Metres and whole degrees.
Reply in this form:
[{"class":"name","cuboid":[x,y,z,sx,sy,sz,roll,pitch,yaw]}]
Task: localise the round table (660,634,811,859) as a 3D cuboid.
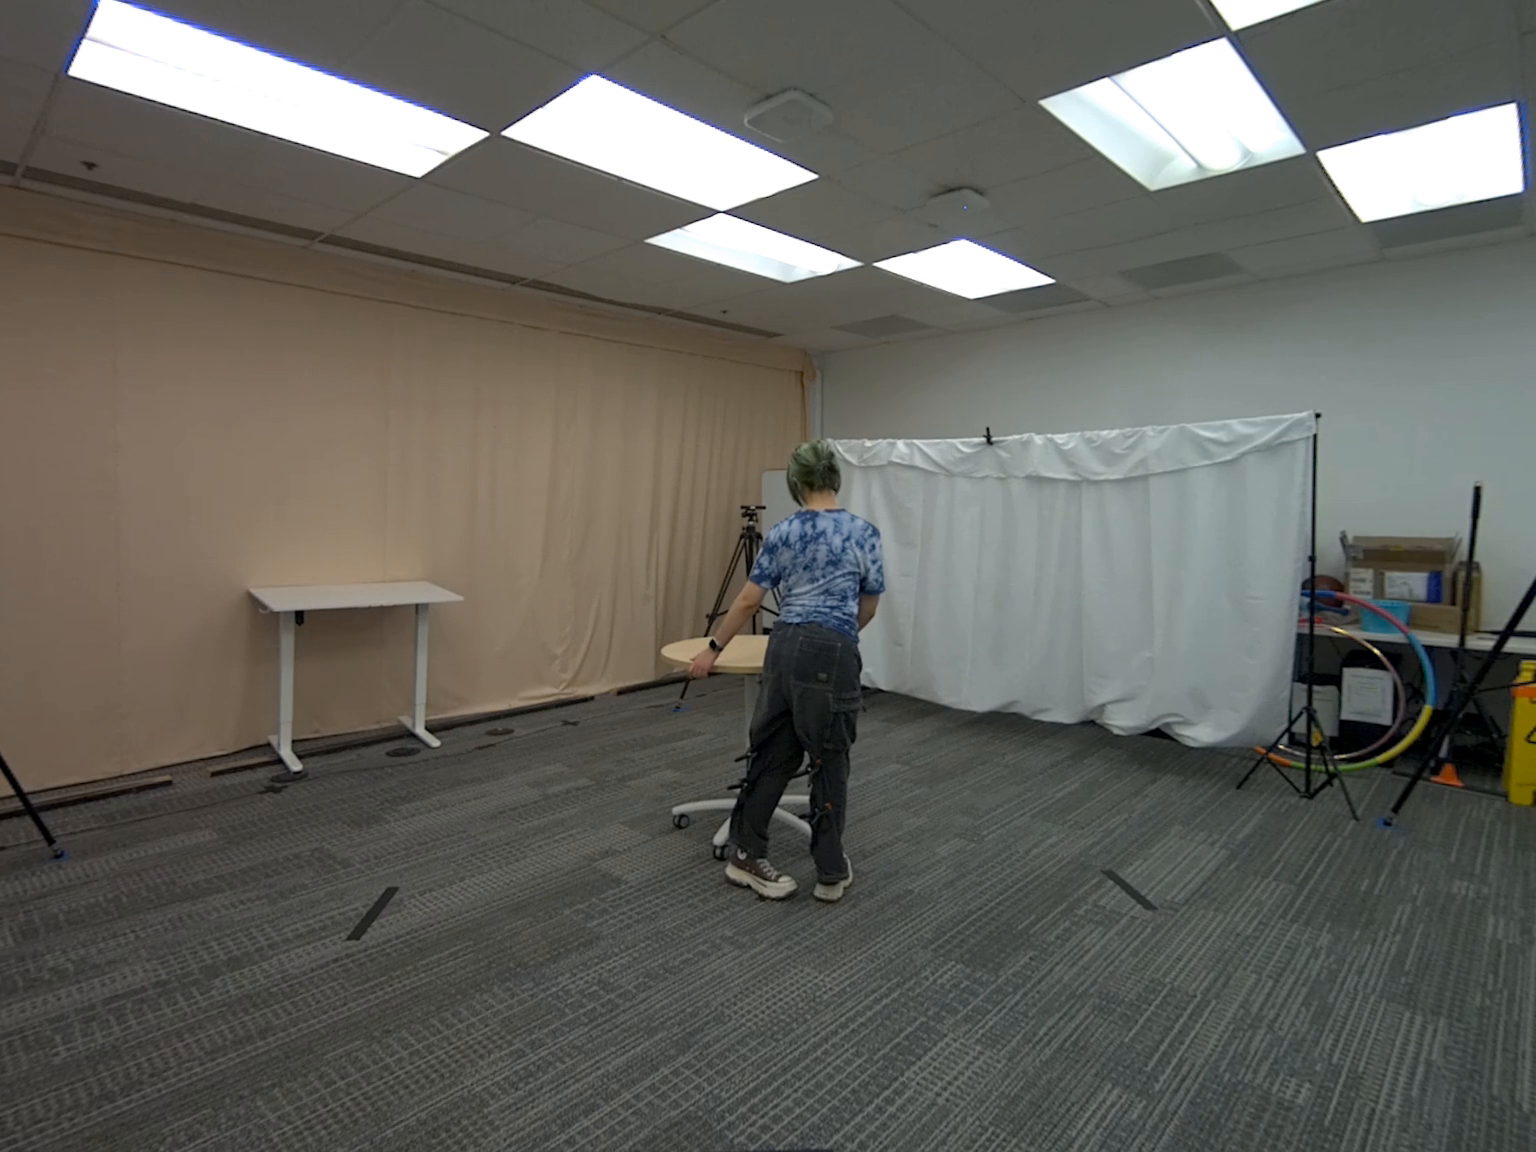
[{"class":"round table","cuboid":[-0.066,0.703,3.577,0.763,0.792,0.766,-1,3,-2]}]
